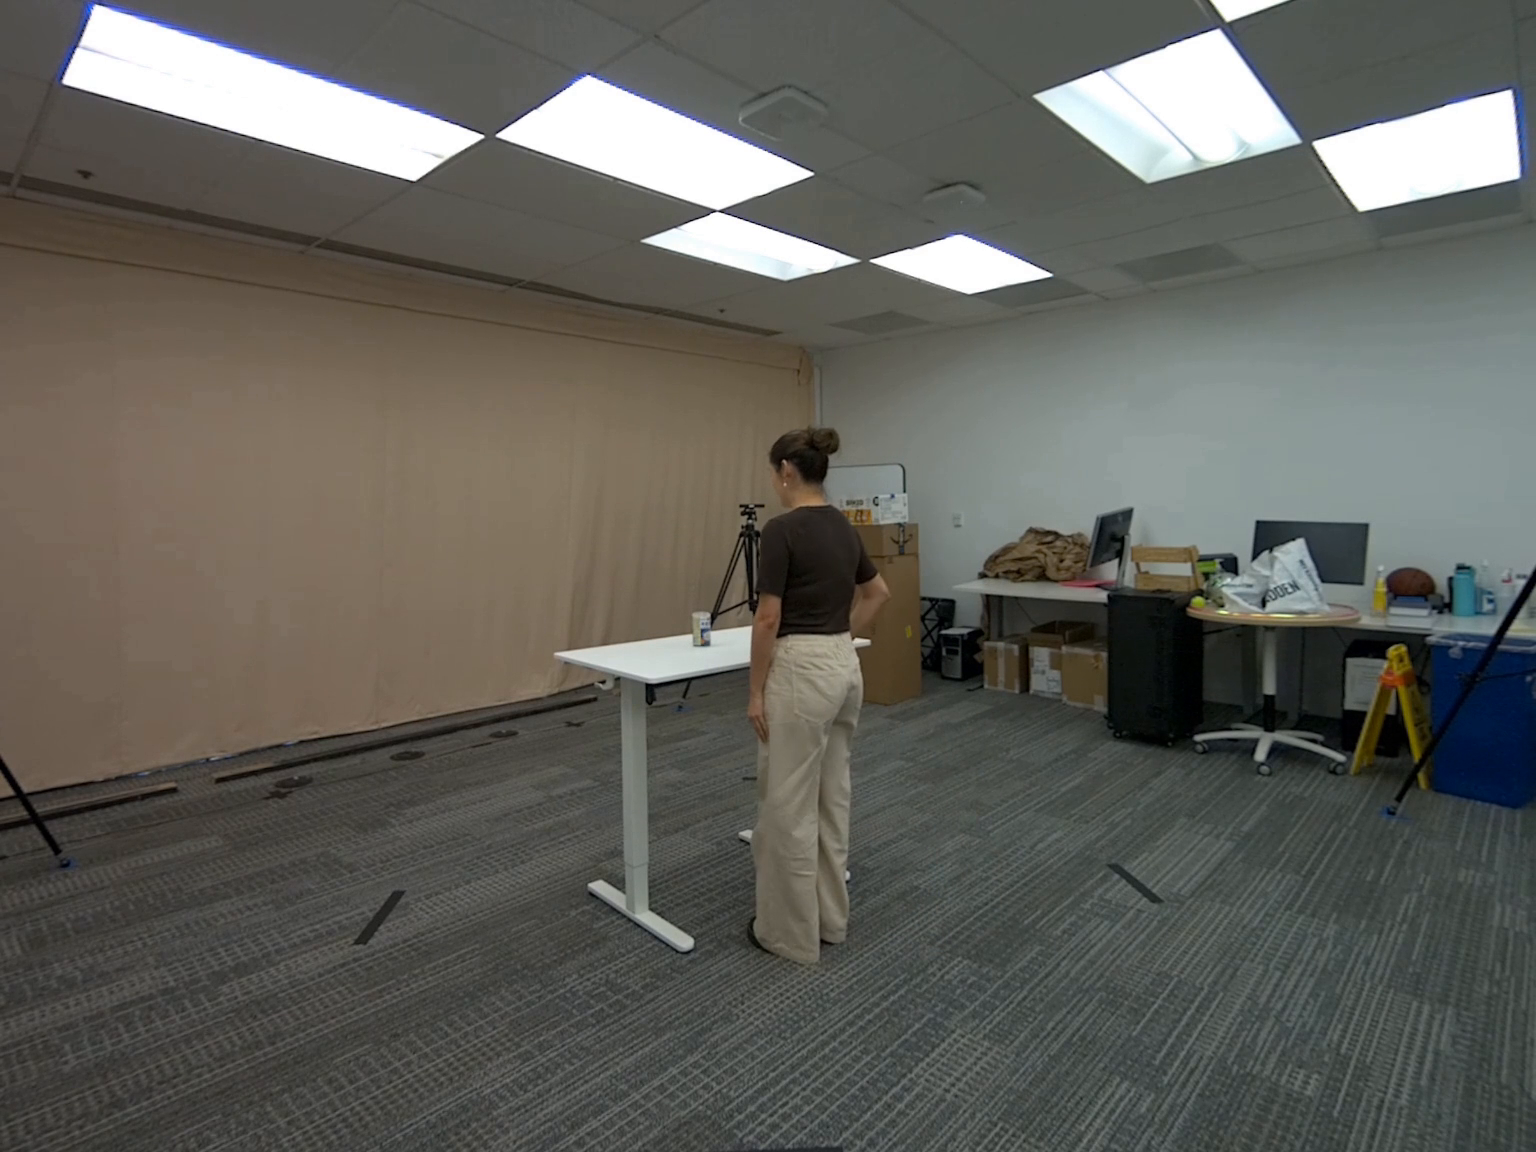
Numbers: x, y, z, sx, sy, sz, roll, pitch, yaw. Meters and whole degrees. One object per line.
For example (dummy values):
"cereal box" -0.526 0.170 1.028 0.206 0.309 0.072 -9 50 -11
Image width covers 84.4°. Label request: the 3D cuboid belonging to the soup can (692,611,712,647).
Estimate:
"soup can" -0.242 0.197 3.062 0.067 0.121 0.067 2 2 -2
